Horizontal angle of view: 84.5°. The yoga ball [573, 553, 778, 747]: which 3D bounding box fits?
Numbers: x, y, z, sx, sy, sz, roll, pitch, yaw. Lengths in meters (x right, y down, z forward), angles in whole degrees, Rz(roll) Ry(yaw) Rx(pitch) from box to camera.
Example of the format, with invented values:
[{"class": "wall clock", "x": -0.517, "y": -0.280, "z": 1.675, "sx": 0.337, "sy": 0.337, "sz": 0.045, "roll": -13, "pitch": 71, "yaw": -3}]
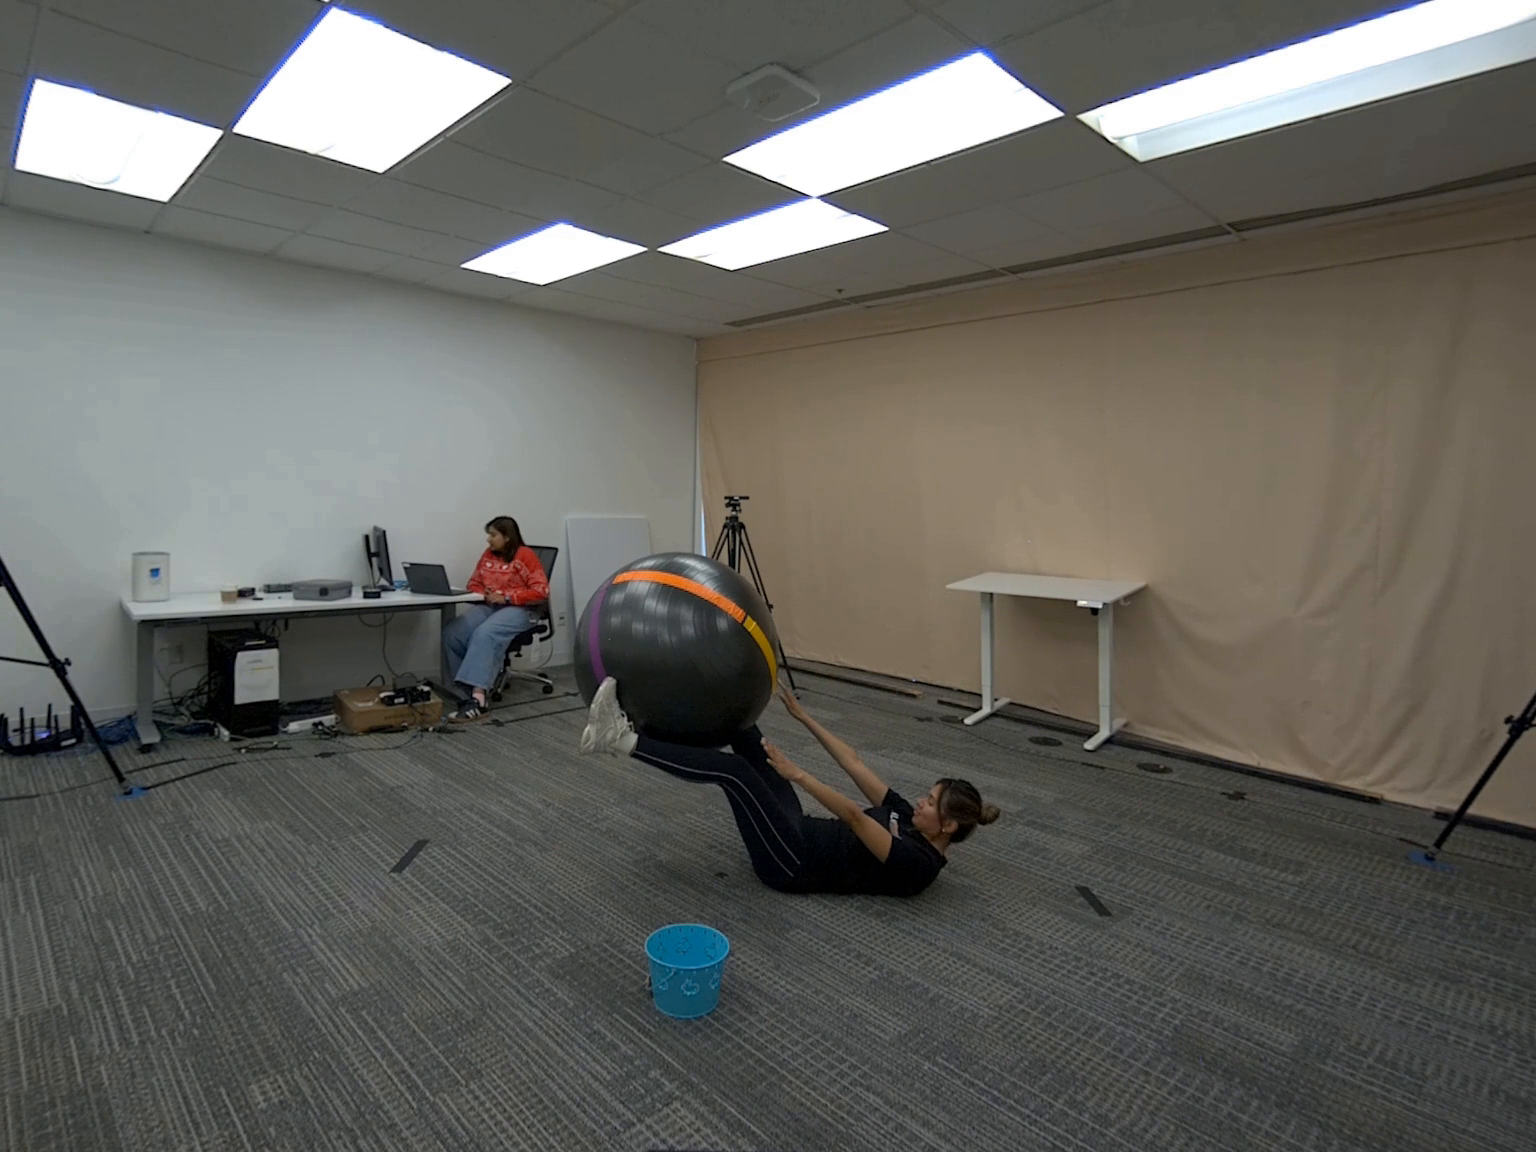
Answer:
[{"class": "yoga ball", "x": -0.338, "y": 0.295, "z": 3.117, "sx": 0.757, "sy": 0.756, "sz": 0.761, "roll": 1, "pitch": 4, "yaw": -1}]
